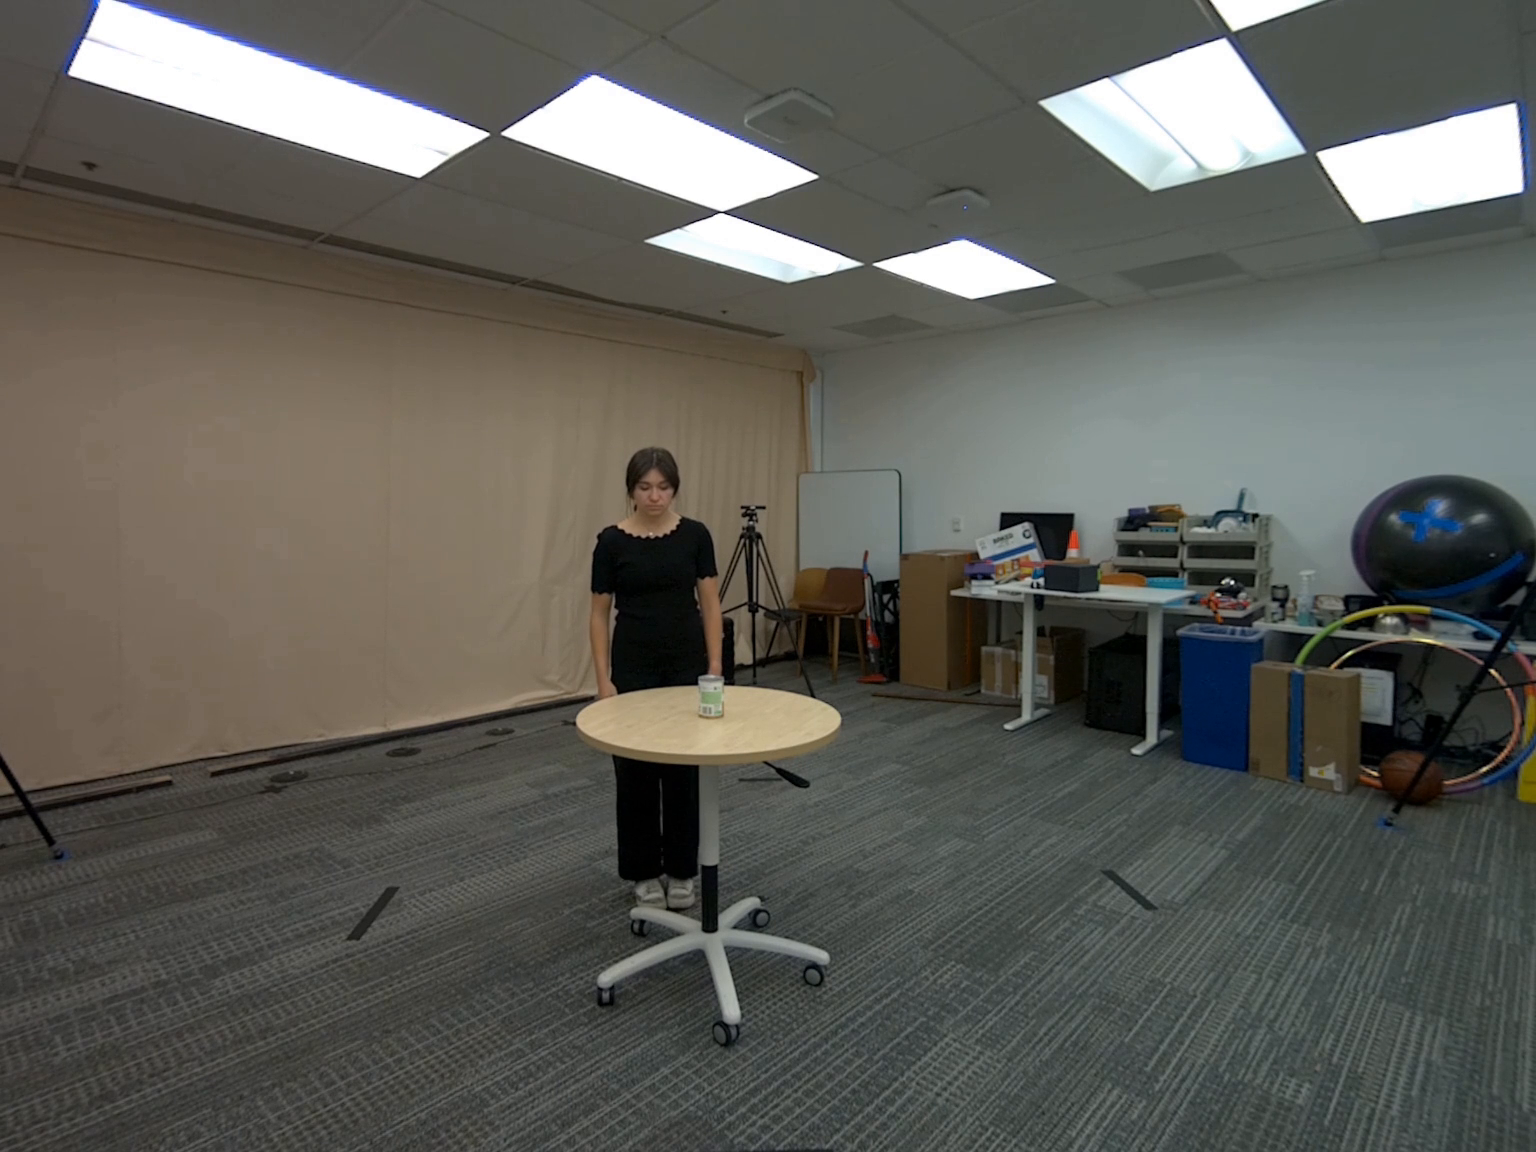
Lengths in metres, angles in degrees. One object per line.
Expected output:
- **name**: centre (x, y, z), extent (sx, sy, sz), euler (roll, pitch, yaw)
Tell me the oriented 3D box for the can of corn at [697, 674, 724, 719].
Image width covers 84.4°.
- **can of corn**: centre (-0.158, 0.354, 2.433), extent (0.074, 0.111, 0.074), euler (-2, 4, -2)
